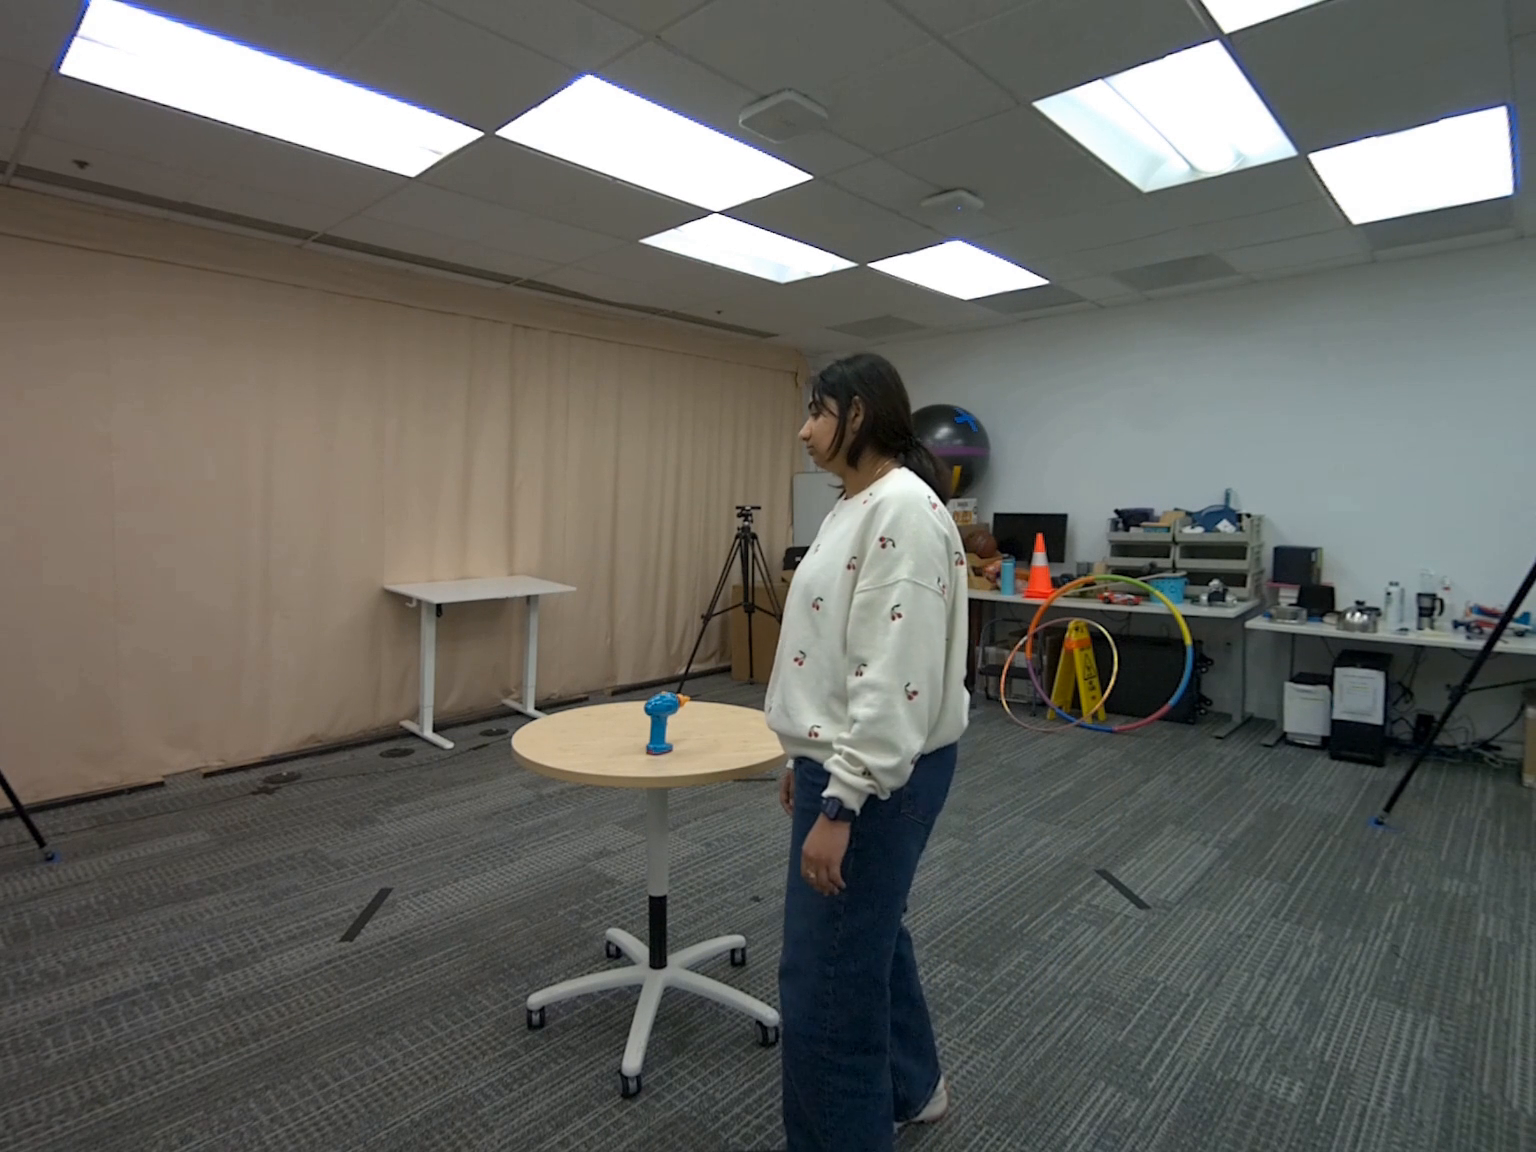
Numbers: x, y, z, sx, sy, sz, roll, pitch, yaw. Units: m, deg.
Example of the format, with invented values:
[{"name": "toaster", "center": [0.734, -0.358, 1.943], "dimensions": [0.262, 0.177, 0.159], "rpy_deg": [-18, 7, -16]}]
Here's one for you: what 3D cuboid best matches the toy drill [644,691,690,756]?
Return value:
[{"name": "toy drill", "center": [-0.253, 0.363, 2.103], "dimensions": [0.063, 0.146, 0.165], "rpy_deg": [-1, 4, 28]}]
